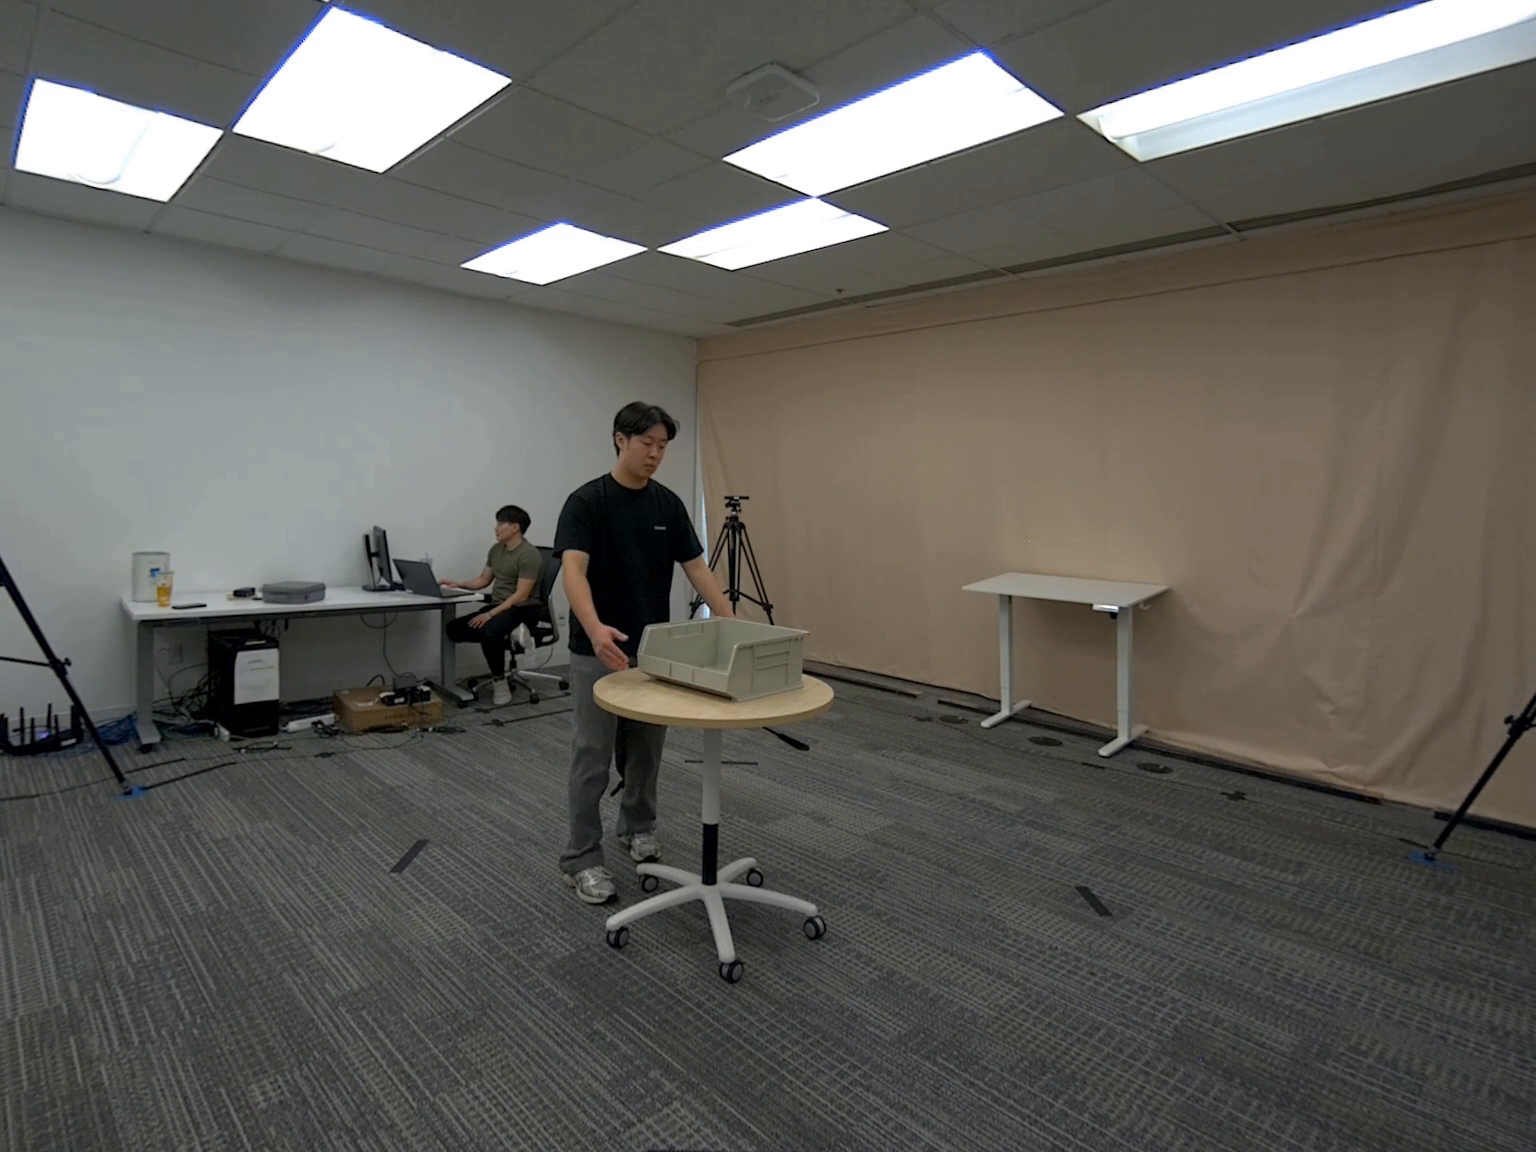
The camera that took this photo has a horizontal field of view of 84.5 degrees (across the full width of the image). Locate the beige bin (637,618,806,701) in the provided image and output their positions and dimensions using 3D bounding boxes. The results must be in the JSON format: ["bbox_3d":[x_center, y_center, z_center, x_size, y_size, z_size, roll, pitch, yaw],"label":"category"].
[{"bbox_3d":[-0.154,0.268,2.730,0.433,0.188,0.369,5,5,40],"label":"beige bin"}]
